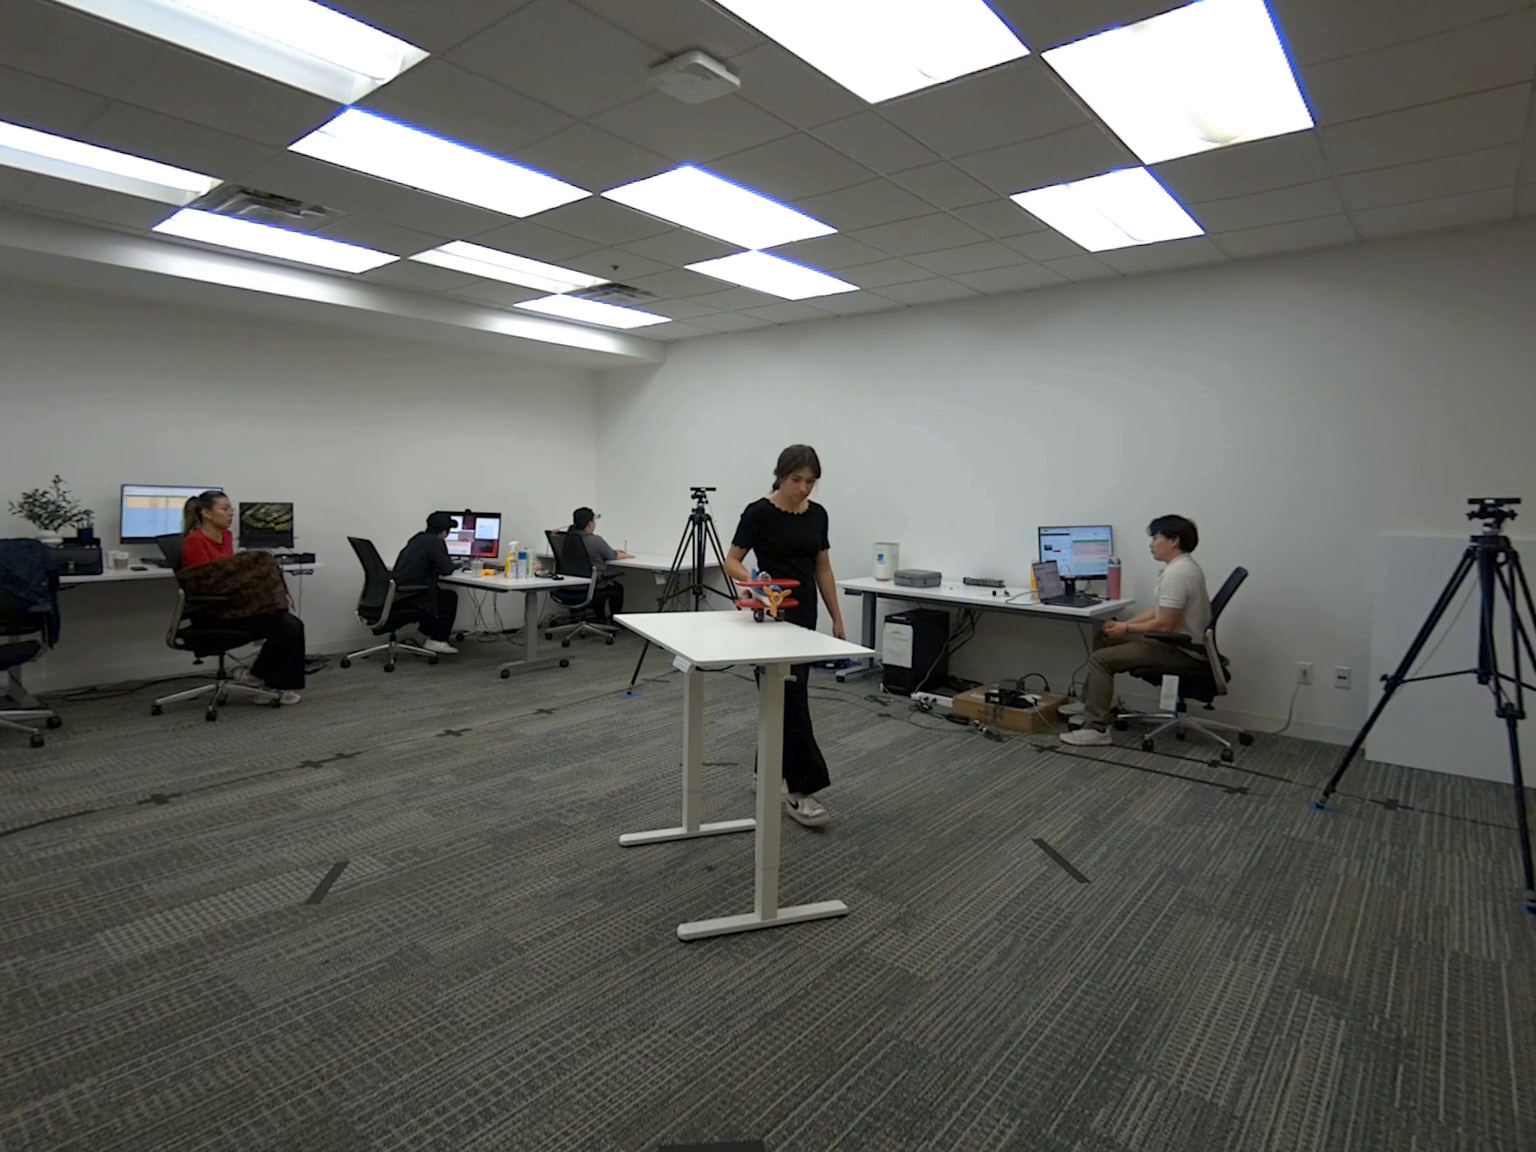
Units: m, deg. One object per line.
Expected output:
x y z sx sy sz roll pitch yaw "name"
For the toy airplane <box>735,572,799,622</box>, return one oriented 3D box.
-0.036 0.067 3.320 0.270 0.154 0.245 25 26 36 "toy airplane"
